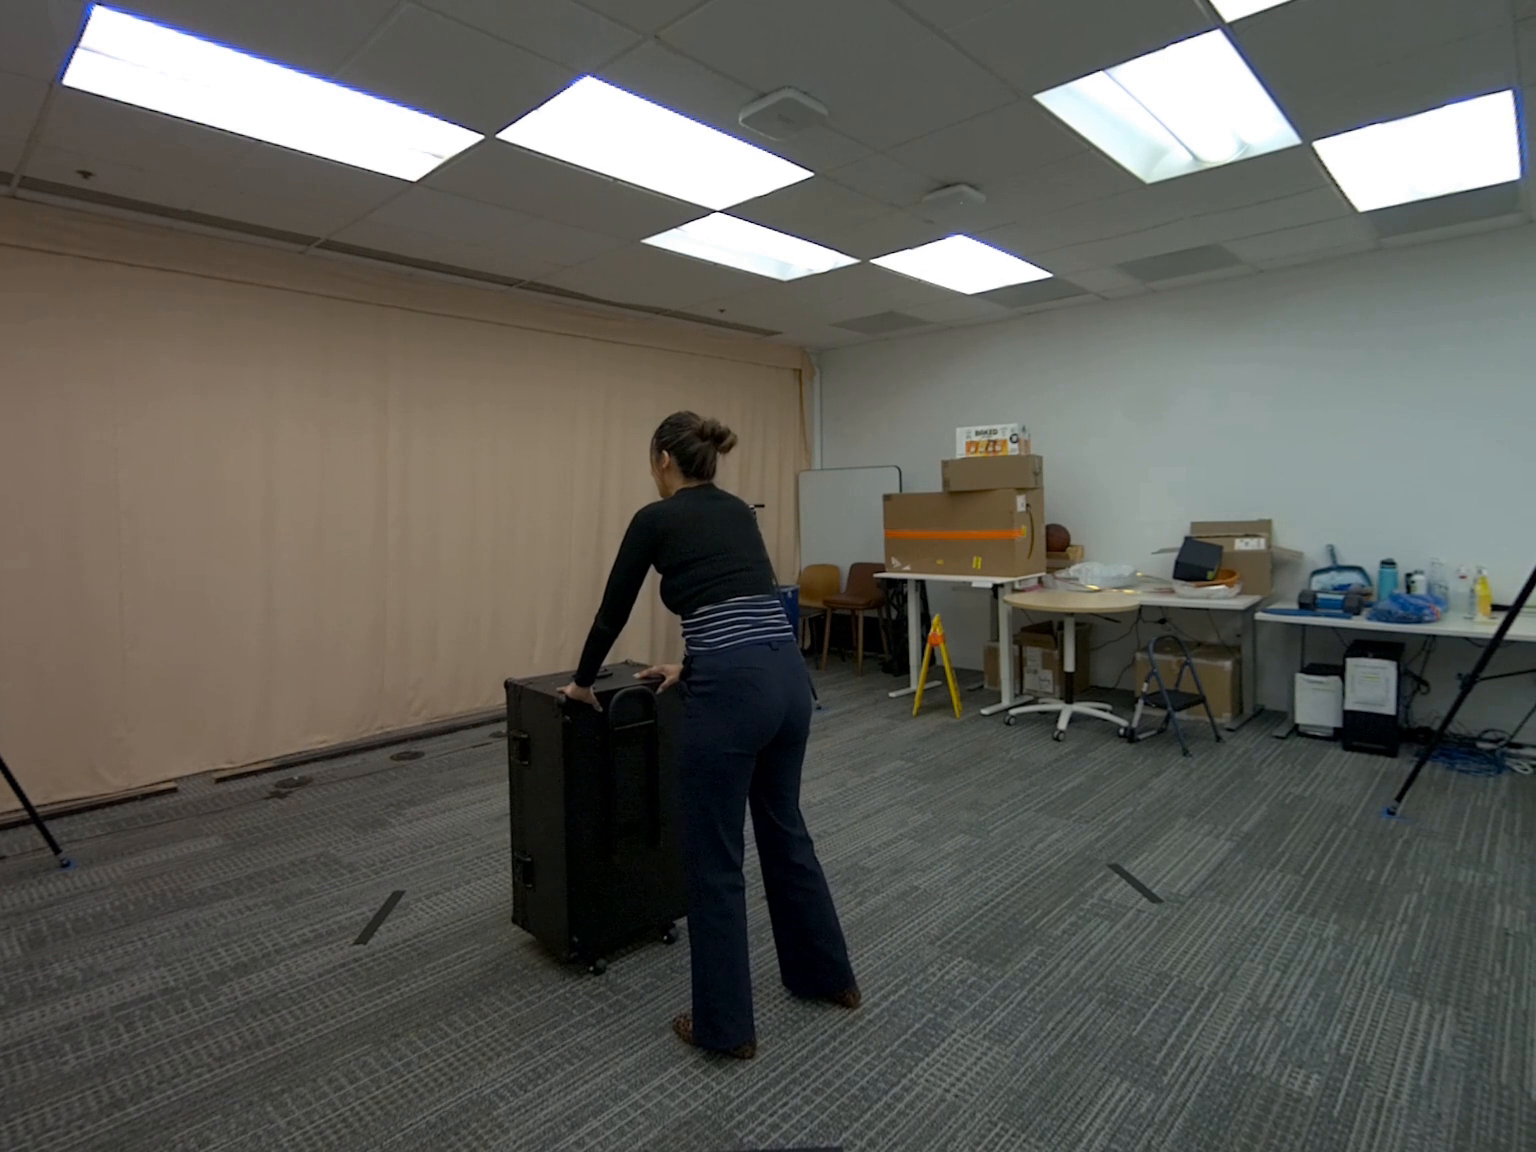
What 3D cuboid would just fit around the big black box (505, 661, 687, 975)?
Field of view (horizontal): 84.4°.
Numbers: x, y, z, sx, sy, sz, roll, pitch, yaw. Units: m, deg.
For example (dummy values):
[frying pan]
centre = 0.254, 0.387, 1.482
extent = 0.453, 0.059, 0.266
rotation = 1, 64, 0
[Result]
[big black box]
centre = -0.519, 0.748, 2.698
extent = 0.505, 0.860, 0.409
rotation = -3, 4, -43
